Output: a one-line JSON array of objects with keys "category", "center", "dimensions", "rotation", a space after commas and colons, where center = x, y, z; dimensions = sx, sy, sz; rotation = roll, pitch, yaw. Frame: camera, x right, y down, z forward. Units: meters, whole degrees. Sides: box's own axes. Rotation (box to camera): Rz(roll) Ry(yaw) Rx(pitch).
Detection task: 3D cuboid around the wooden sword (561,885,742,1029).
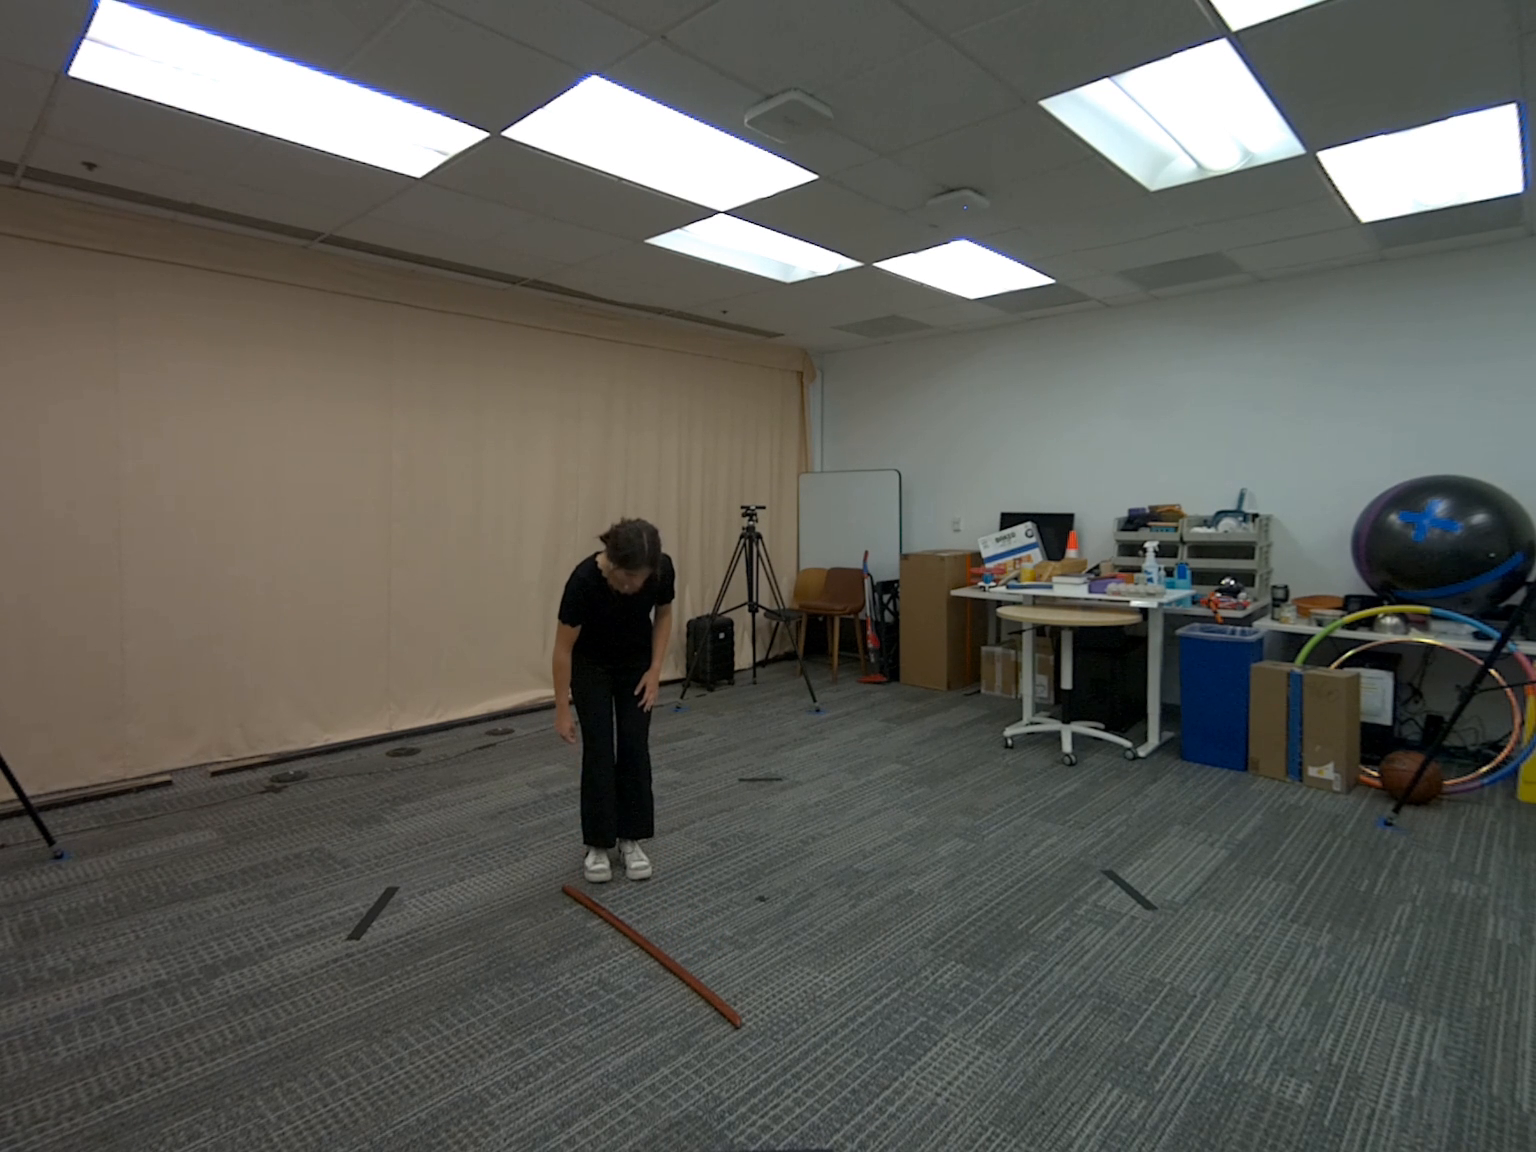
[{"category": "wooden sword", "center": [-0.389, 1.153, 2.662], "dimensions": [0.049, 0.024, 1.058], "rotation": [5, 0, -38]}]
